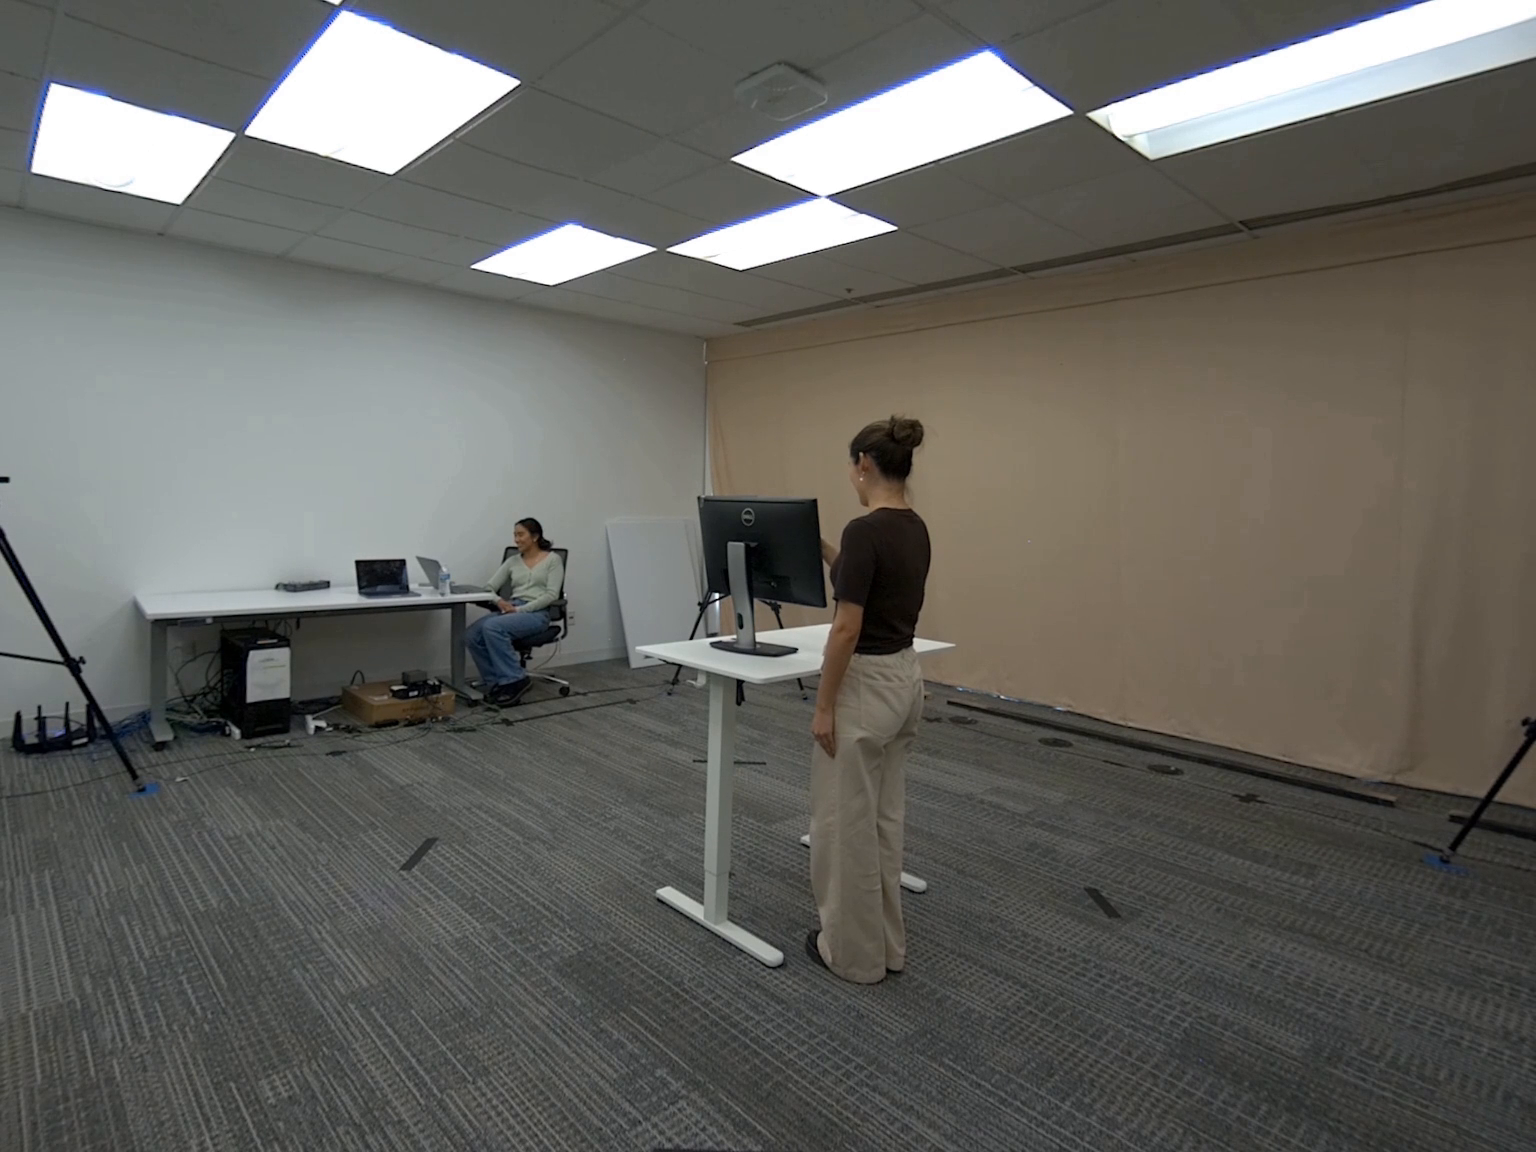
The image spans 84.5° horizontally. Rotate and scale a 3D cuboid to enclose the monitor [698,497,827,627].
[{"bbox_3d":[-0.056,-0.002,2.800,0.553,0.521,0.183,5,4,43],"label":"monitor"}]
